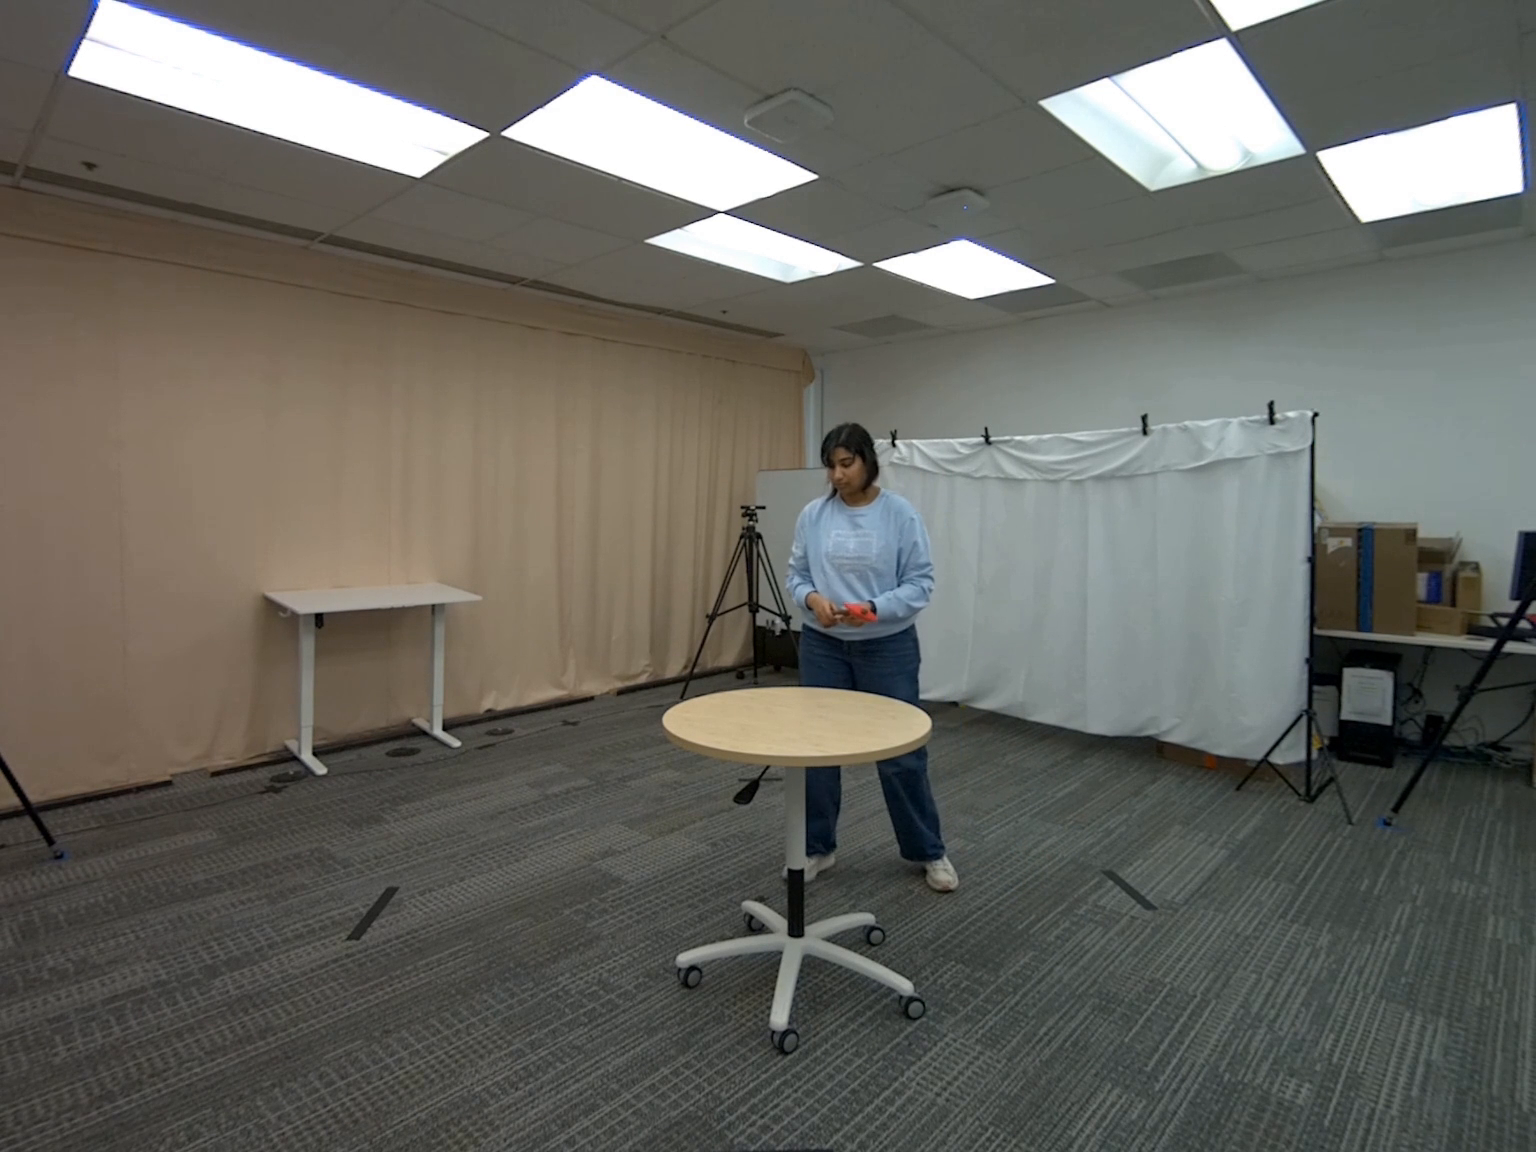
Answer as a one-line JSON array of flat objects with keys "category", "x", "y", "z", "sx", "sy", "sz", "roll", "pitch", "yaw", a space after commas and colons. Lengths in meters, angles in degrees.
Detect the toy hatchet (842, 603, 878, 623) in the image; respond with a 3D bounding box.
[{"category": "toy hatchet", "x": 0.308, "y": 0.133, "z": 2.851, "sx": 0.131, "sy": 0.029, "sz": 0.269, "roll": 20, "pitch": -10, "yaw": 0}]
